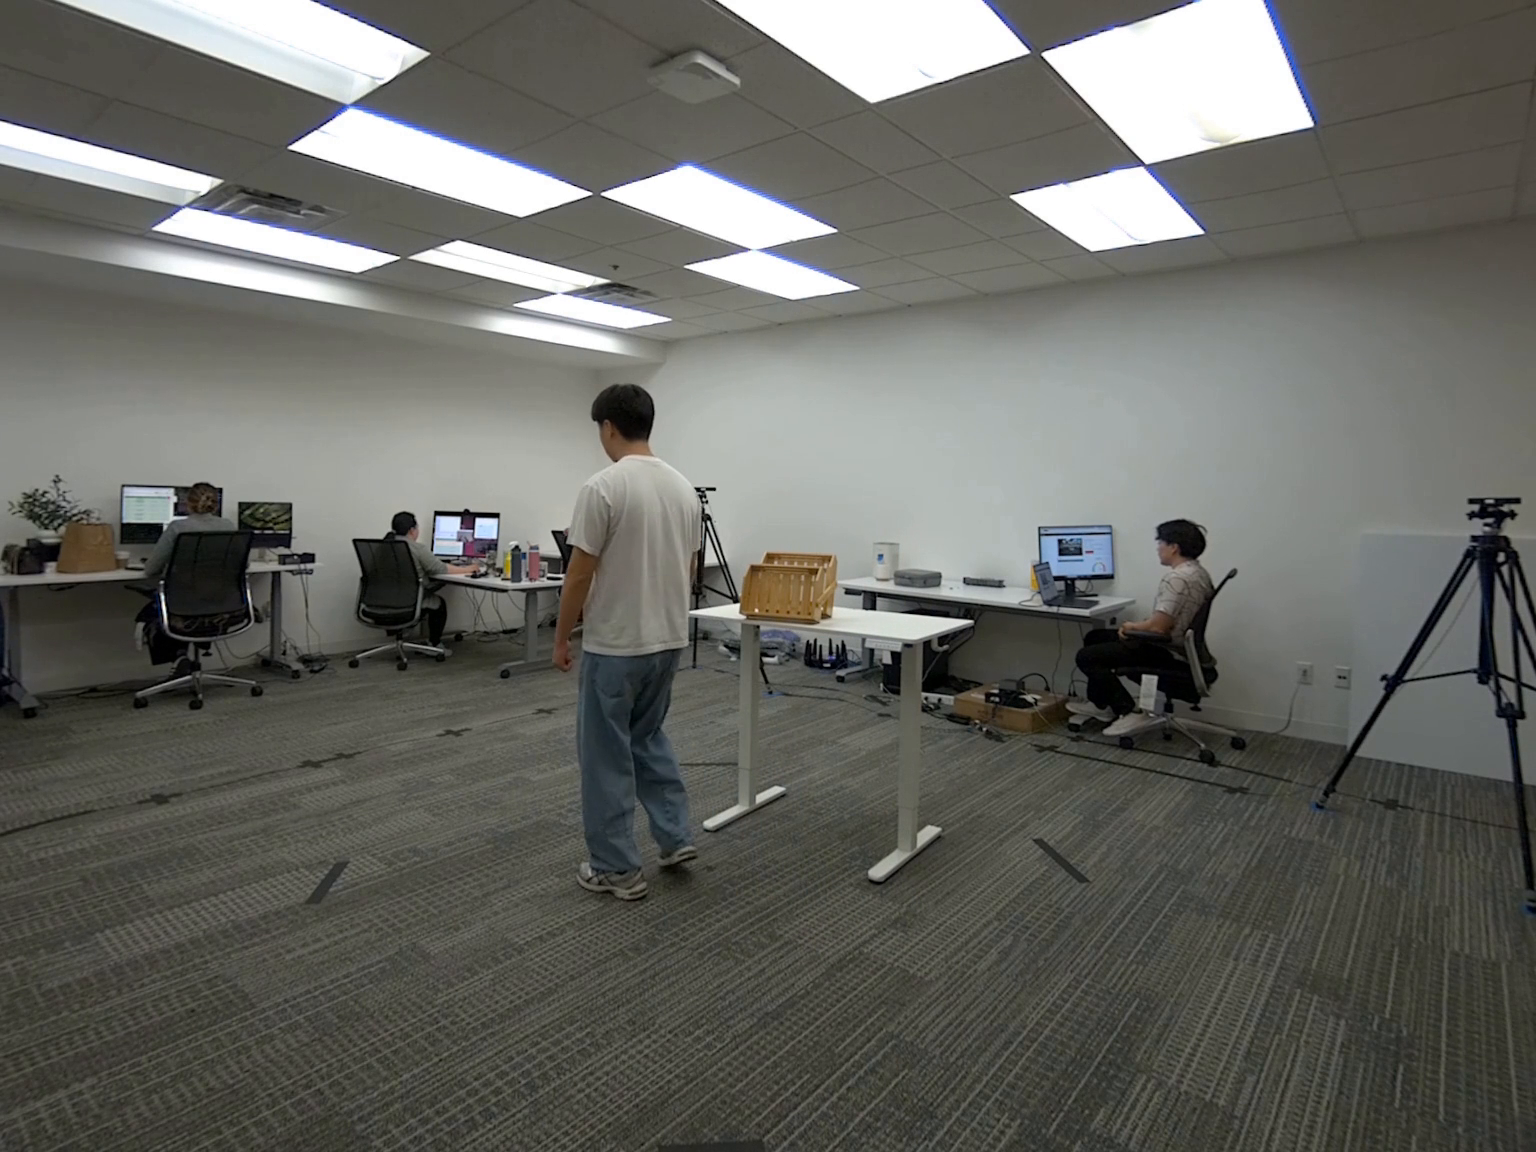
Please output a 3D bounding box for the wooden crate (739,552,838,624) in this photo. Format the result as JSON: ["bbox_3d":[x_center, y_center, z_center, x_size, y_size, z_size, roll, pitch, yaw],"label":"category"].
[{"bbox_3d":[0.079,0.028,3.378,0.332,0.305,0.264,2,-13,21],"label":"wooden crate"}]
